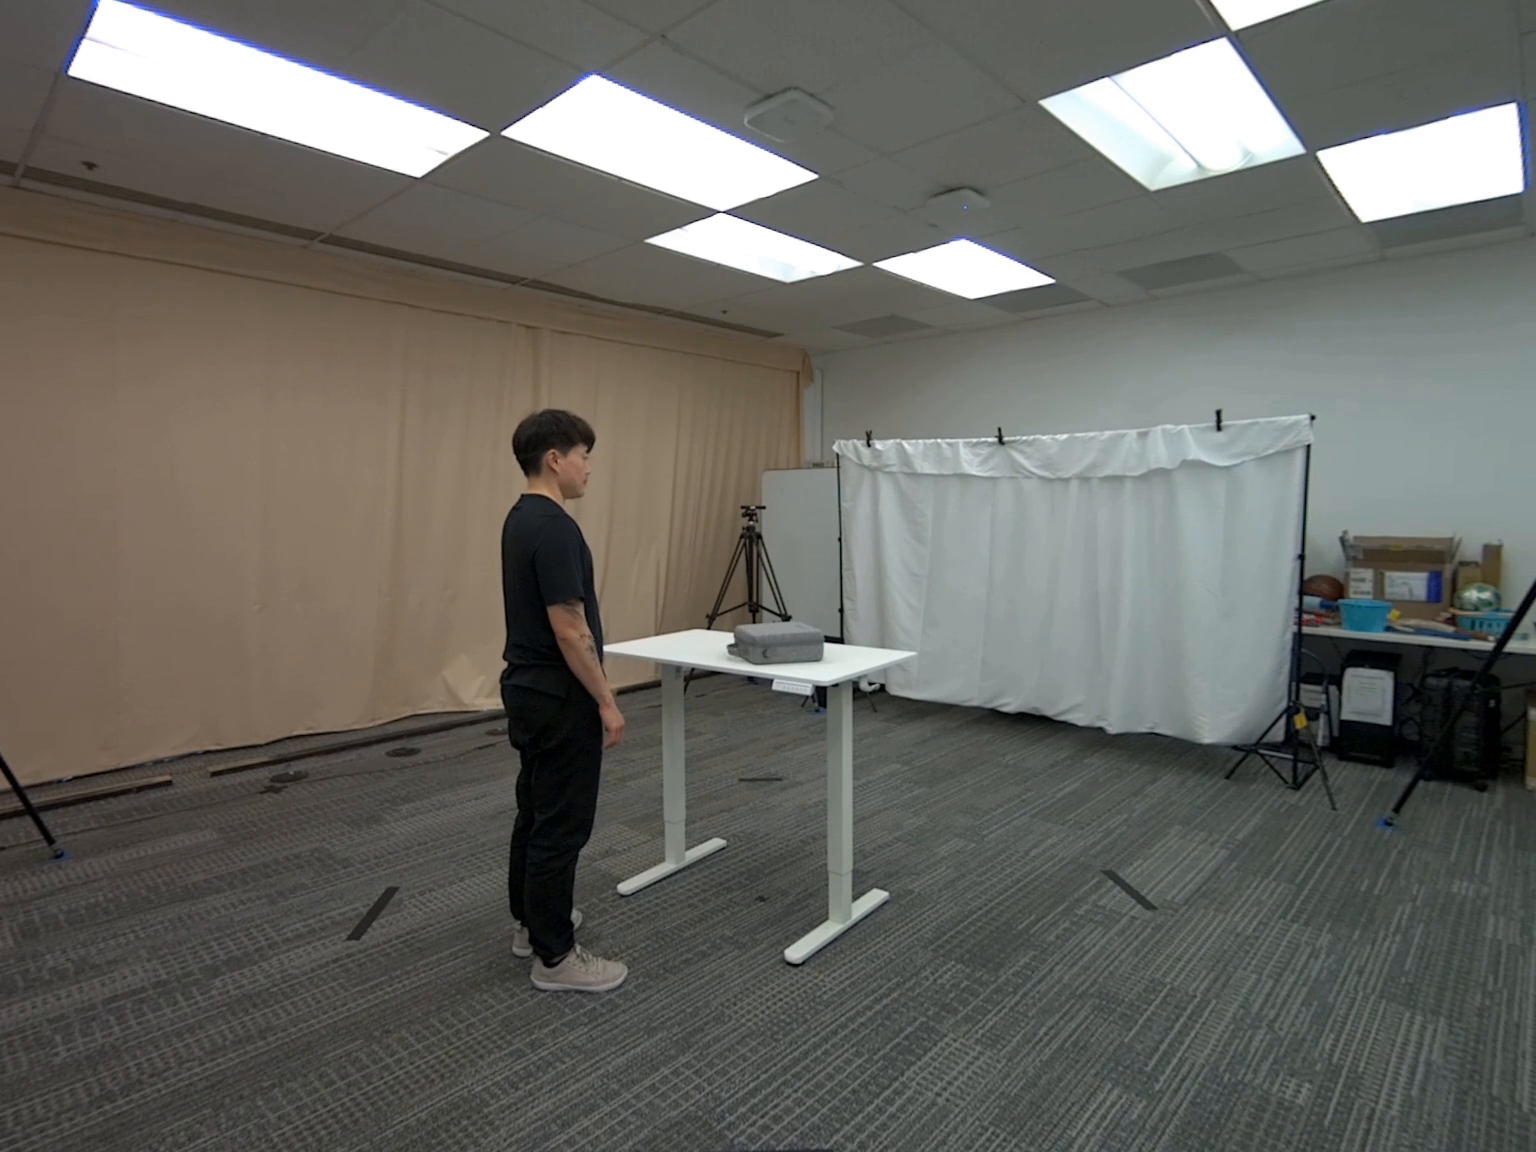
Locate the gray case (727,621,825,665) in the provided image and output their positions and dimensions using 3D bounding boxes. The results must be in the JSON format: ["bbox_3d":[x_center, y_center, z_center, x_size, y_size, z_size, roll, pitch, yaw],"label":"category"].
[{"bbox_3d":[0.033,0.222,2.816,0.257,0.104,0.261,-3,6,-15],"label":"gray case"}]
